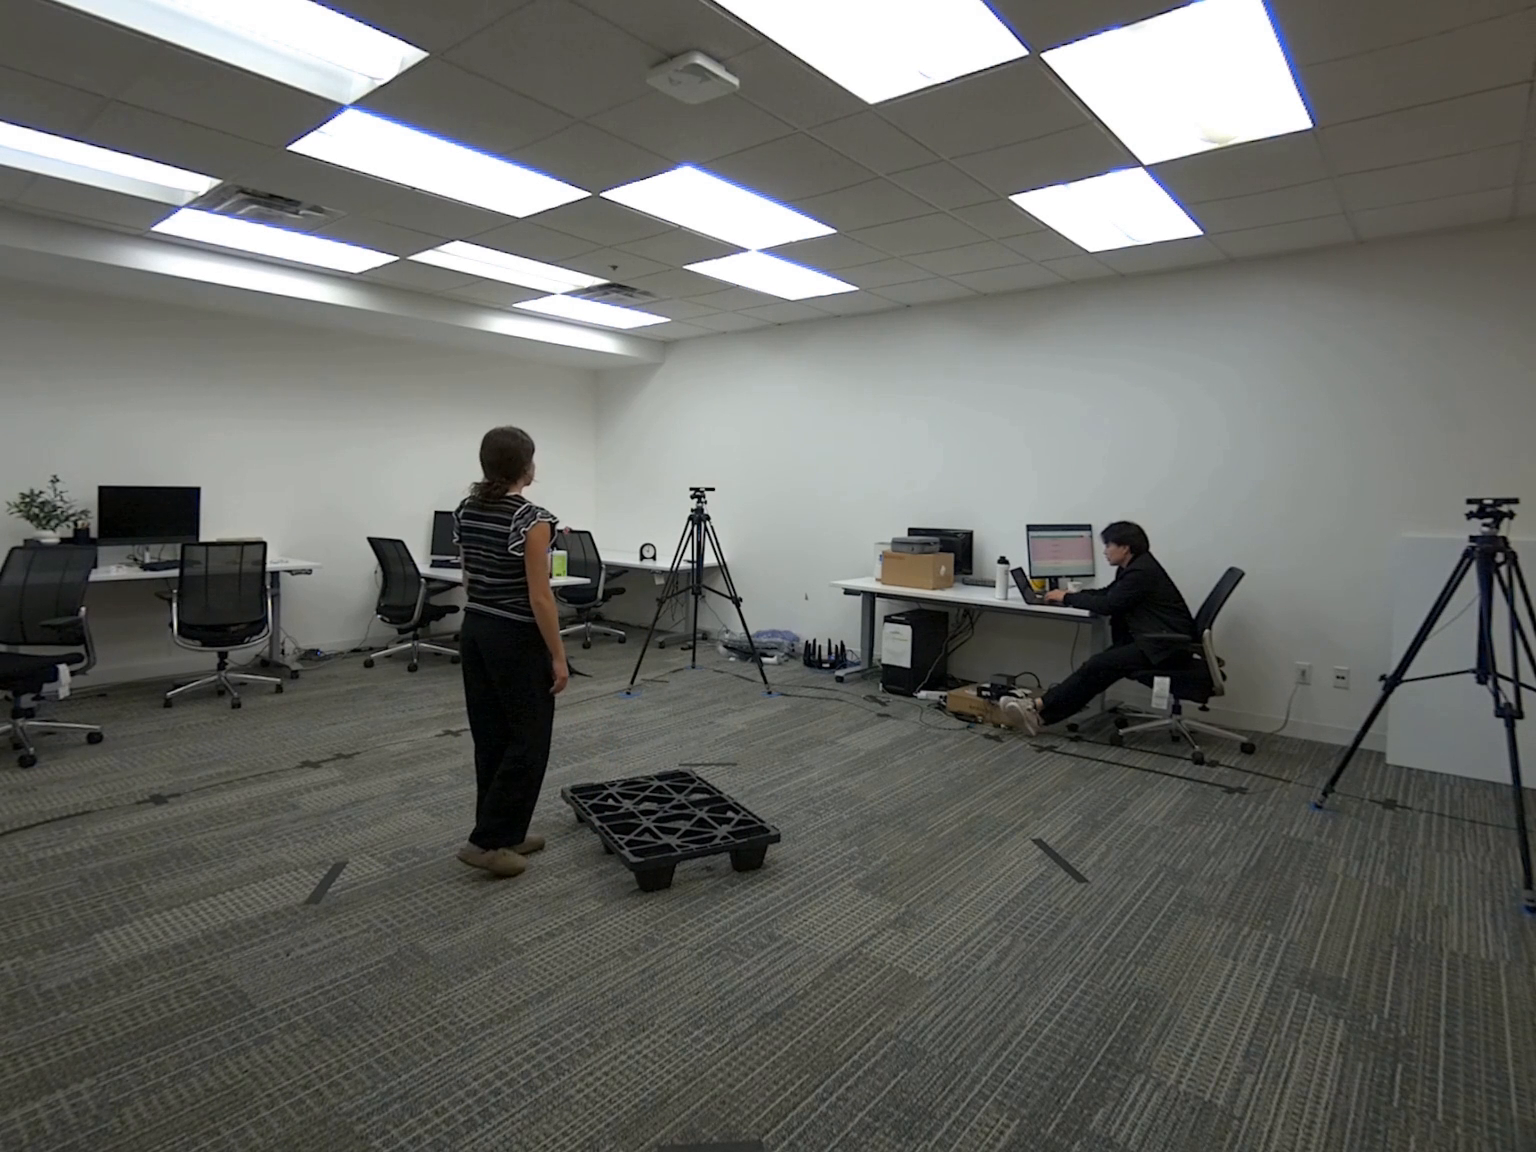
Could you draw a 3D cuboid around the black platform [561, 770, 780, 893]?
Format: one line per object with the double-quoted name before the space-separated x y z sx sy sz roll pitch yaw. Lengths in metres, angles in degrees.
"black platform" -0.418 0.974 3.339 0.589 0.143 0.830 -2 6 -29
